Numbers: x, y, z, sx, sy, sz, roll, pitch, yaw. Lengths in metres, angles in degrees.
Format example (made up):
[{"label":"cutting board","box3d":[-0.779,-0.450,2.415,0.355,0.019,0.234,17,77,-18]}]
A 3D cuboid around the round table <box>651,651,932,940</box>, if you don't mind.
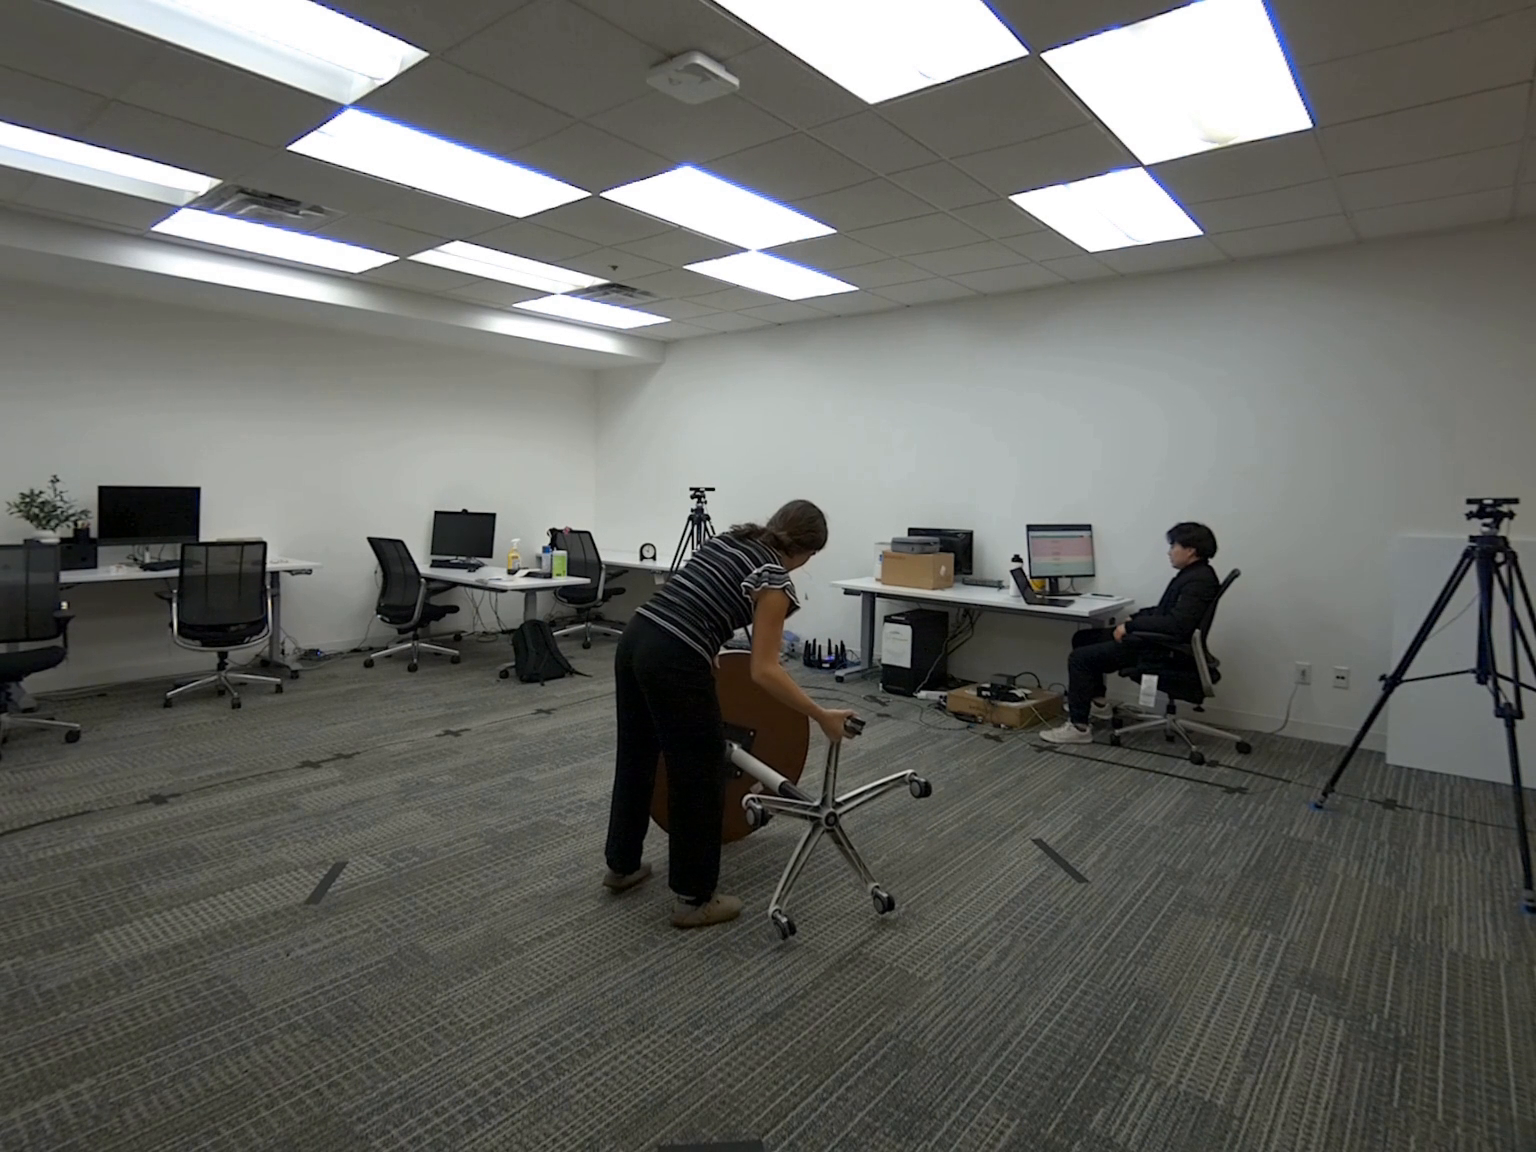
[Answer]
[{"label":"round table","box3d":[0.040,0.730,2.967,0.744,0.760,0.819,-1,7,-29]}]
